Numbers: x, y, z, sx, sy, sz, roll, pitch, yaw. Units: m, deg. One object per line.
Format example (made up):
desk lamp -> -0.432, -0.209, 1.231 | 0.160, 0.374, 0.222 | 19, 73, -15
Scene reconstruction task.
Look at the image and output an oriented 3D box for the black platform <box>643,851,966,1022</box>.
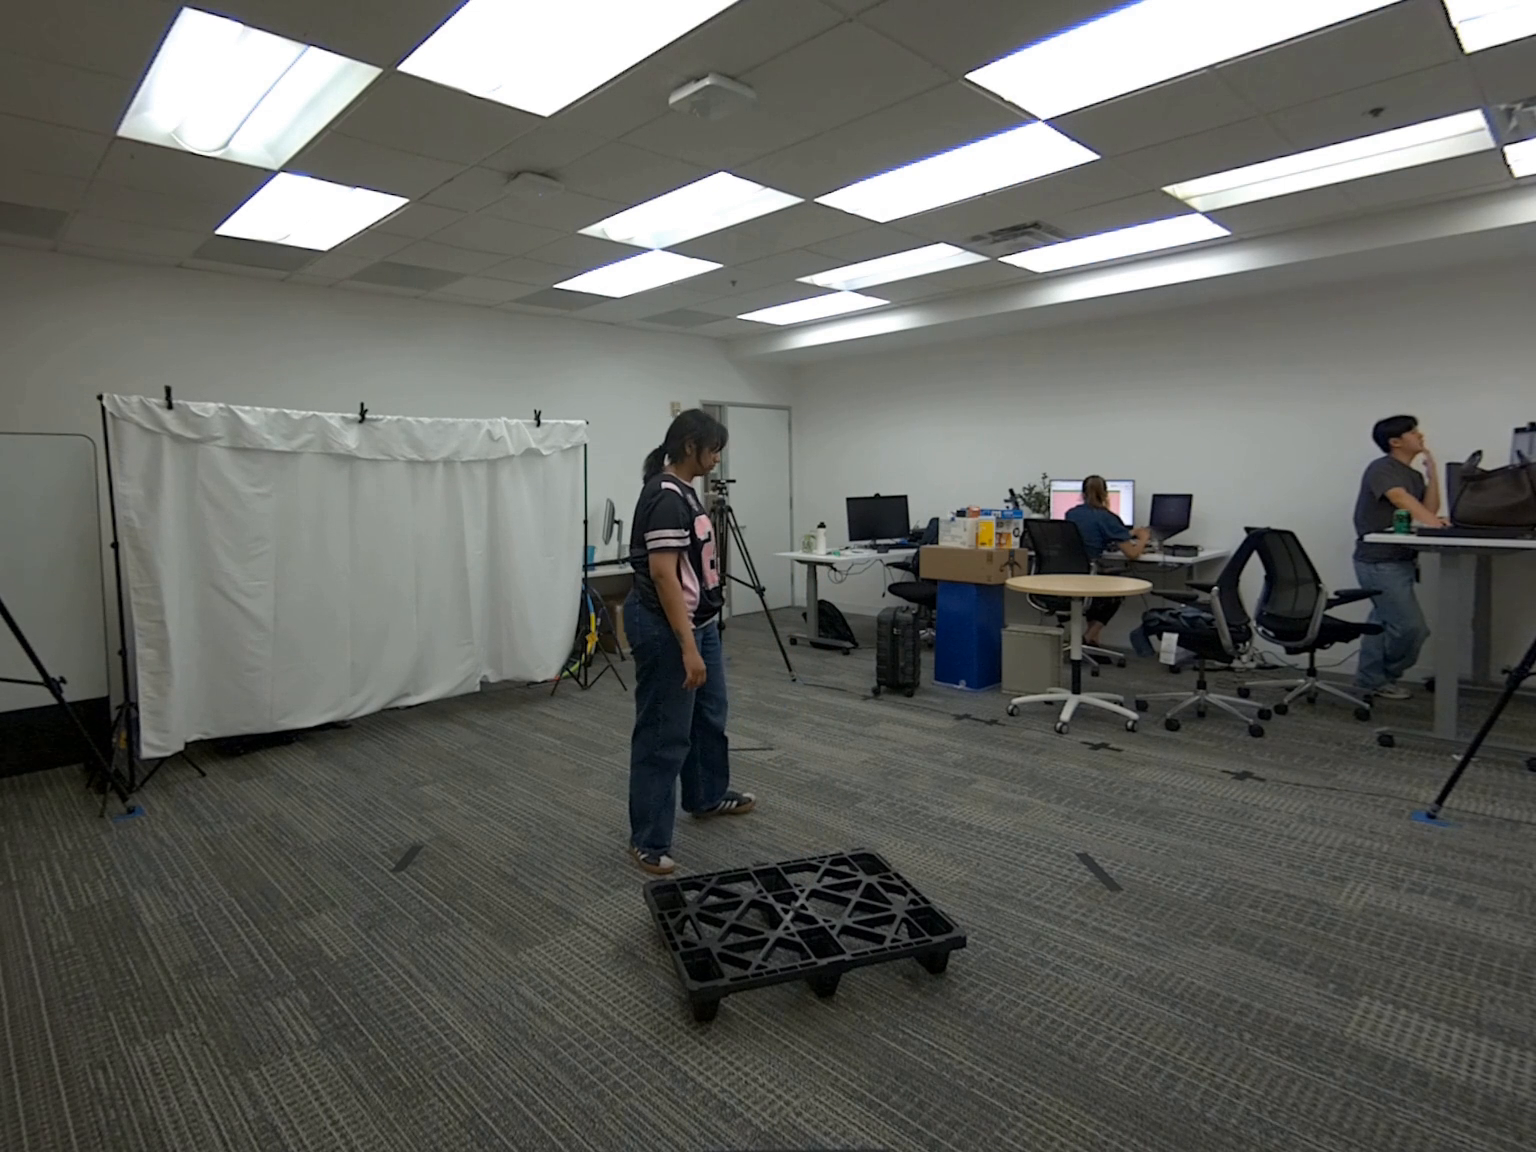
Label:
black platform -> 0.080, 1.043, 2.529 | 0.793, 0.143, 0.617 | -3, 6, -18
